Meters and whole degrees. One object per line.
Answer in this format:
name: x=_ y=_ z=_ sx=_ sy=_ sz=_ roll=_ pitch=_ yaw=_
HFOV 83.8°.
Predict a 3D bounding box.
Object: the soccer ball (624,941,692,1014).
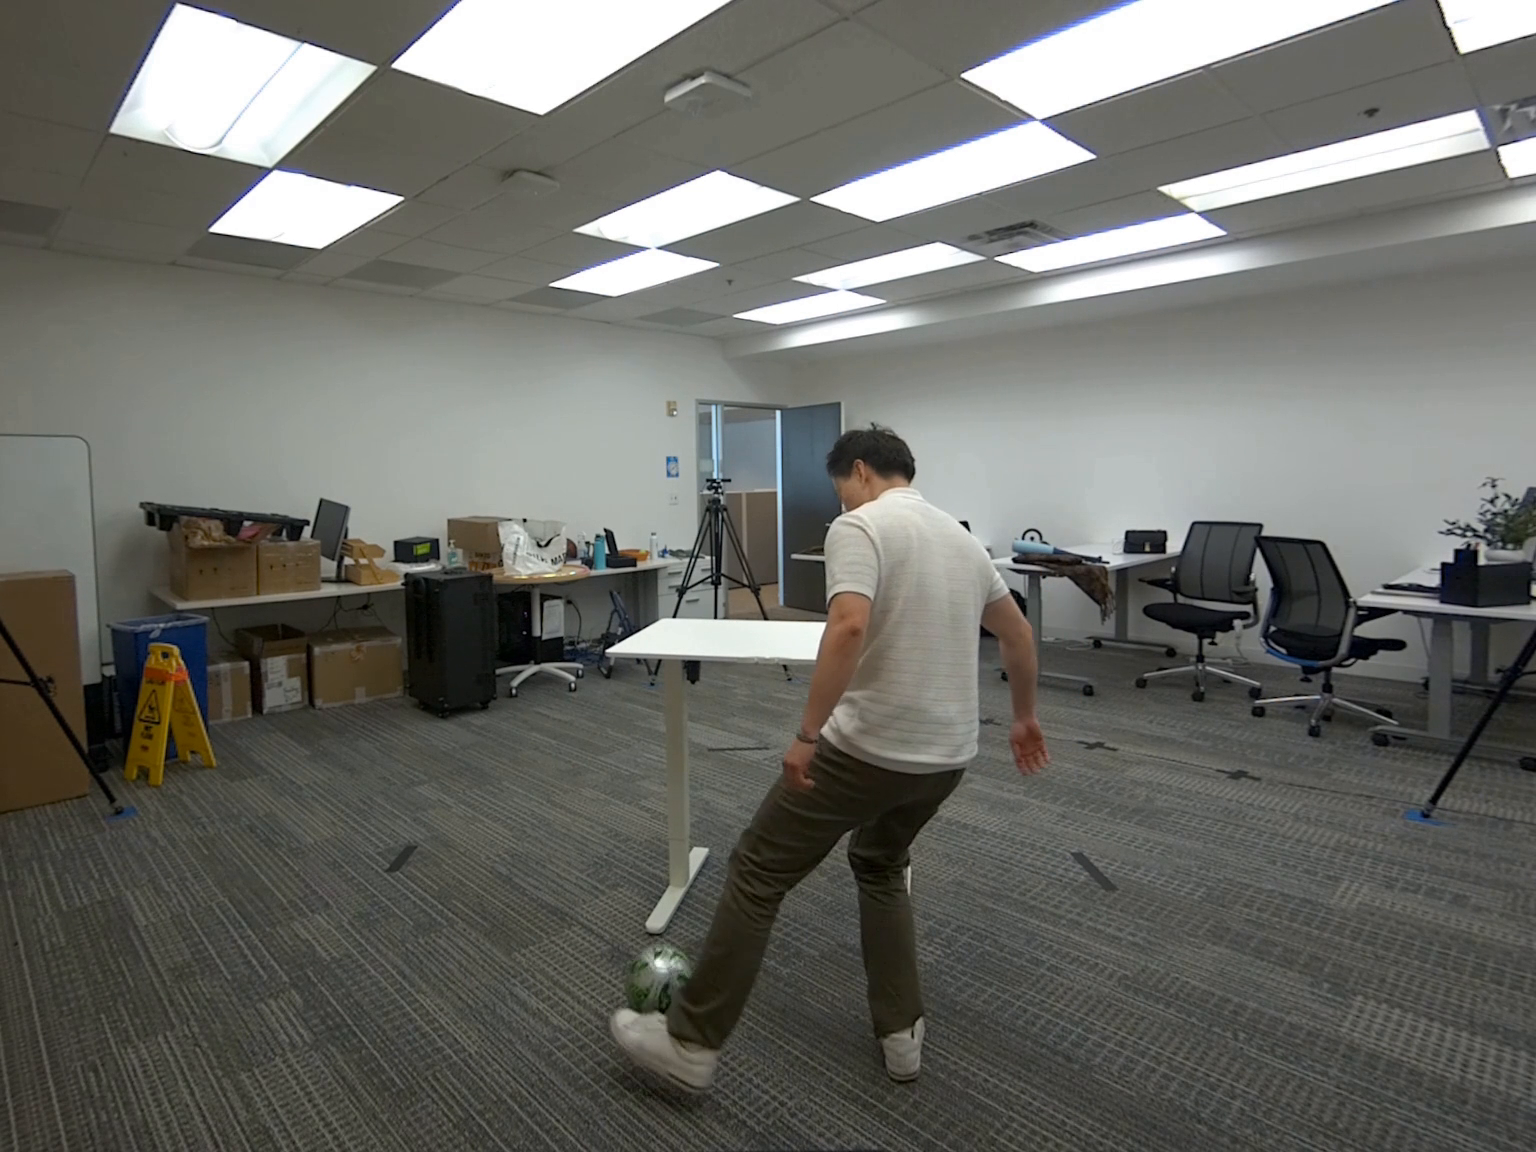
soccer ball: x=-0.267 y=1.064 z=2.232 sx=0.187 sy=0.187 sz=0.188 roll=-1 pitch=5 yaw=-2
